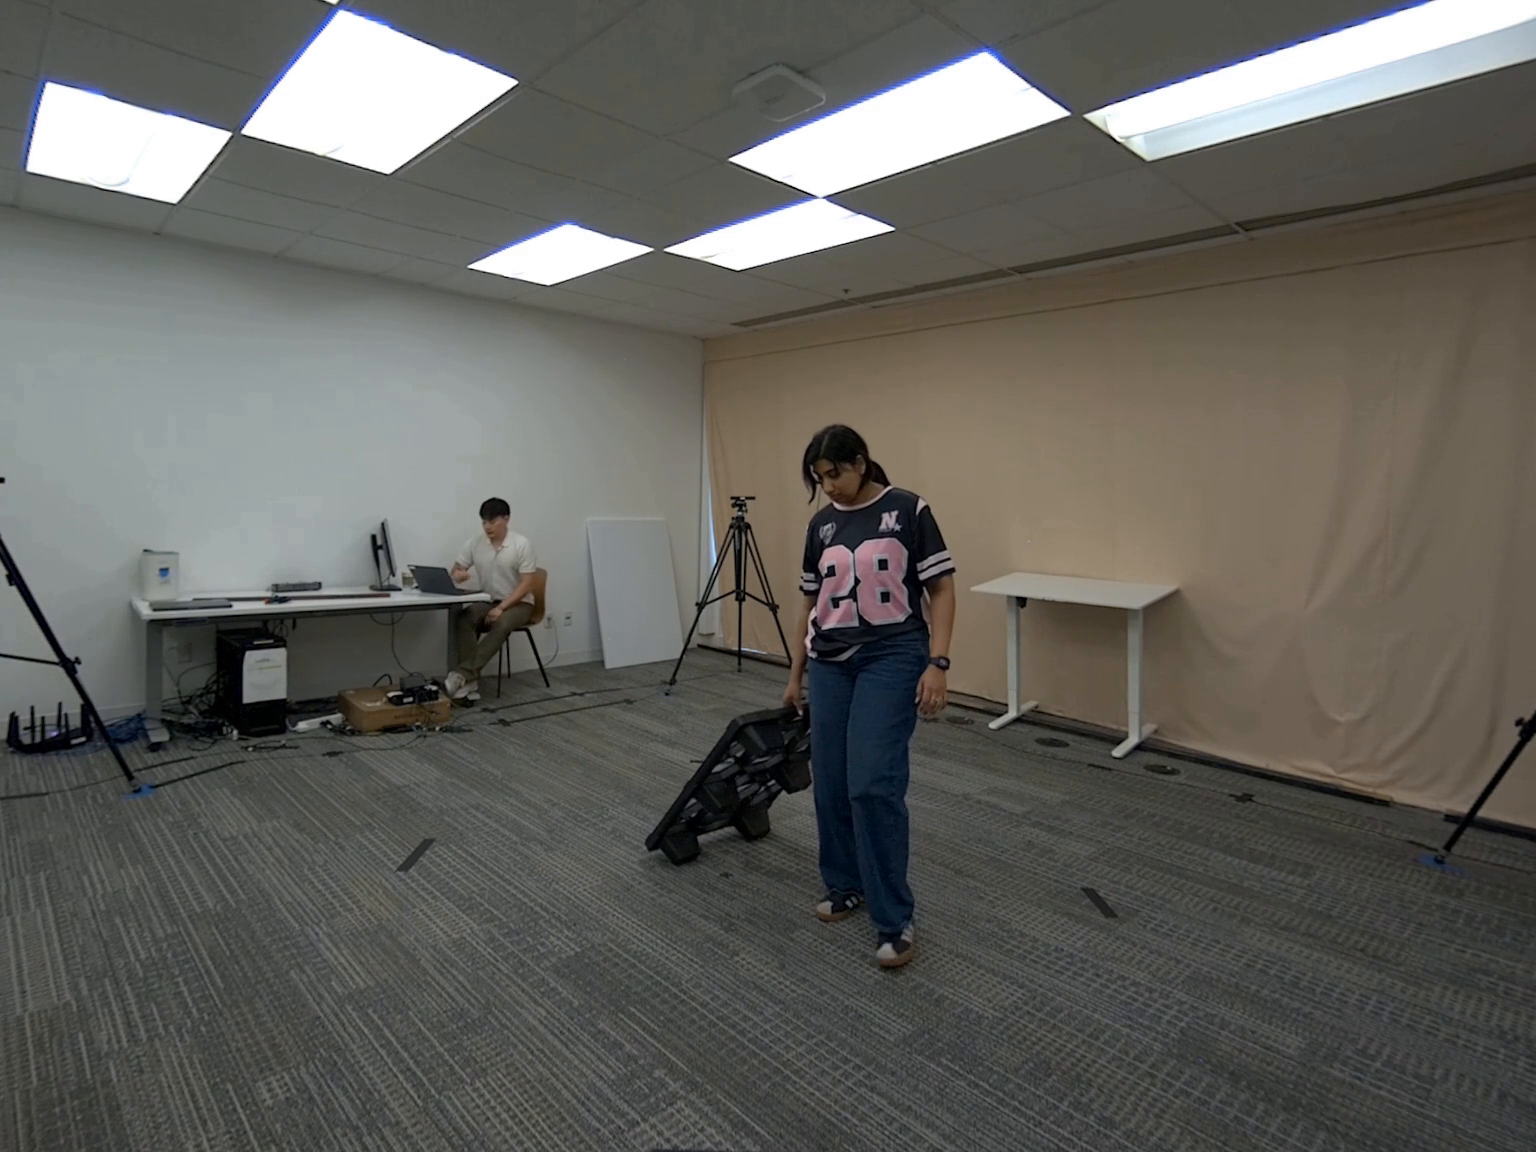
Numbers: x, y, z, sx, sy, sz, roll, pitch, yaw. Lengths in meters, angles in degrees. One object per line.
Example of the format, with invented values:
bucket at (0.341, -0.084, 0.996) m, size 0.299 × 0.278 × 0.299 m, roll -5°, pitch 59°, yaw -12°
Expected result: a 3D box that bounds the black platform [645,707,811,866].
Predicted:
black platform at (-0.047, 0.780, 3.167) m, size 0.591 × 0.801 × 0.147 m, roll -2°, pitch 46°, yaw -42°
